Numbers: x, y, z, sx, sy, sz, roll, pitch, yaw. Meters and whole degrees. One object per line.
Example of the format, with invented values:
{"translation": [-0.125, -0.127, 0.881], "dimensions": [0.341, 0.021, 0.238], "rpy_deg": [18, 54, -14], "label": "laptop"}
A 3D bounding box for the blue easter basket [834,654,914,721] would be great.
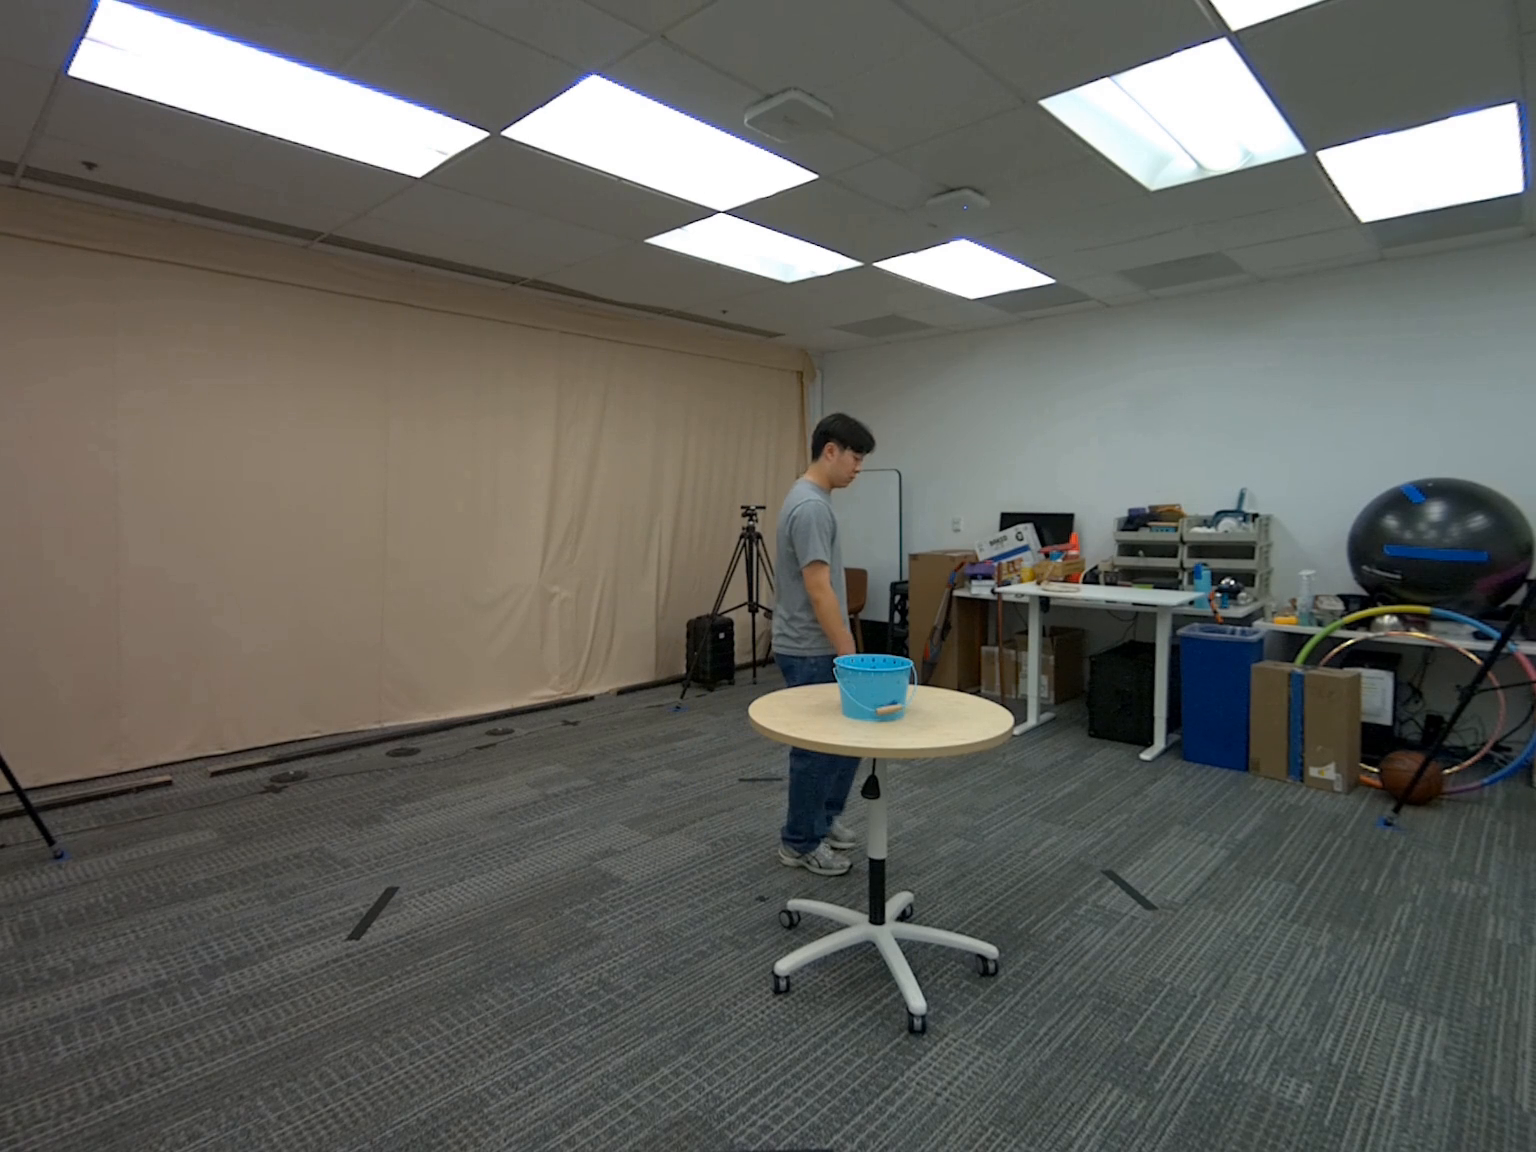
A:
{"translation": [0.310, 0.327, 2.464], "dimensions": [0.243, 0.155, 0.244], "rpy_deg": [0, 4, -2], "label": "blue easter basket"}
